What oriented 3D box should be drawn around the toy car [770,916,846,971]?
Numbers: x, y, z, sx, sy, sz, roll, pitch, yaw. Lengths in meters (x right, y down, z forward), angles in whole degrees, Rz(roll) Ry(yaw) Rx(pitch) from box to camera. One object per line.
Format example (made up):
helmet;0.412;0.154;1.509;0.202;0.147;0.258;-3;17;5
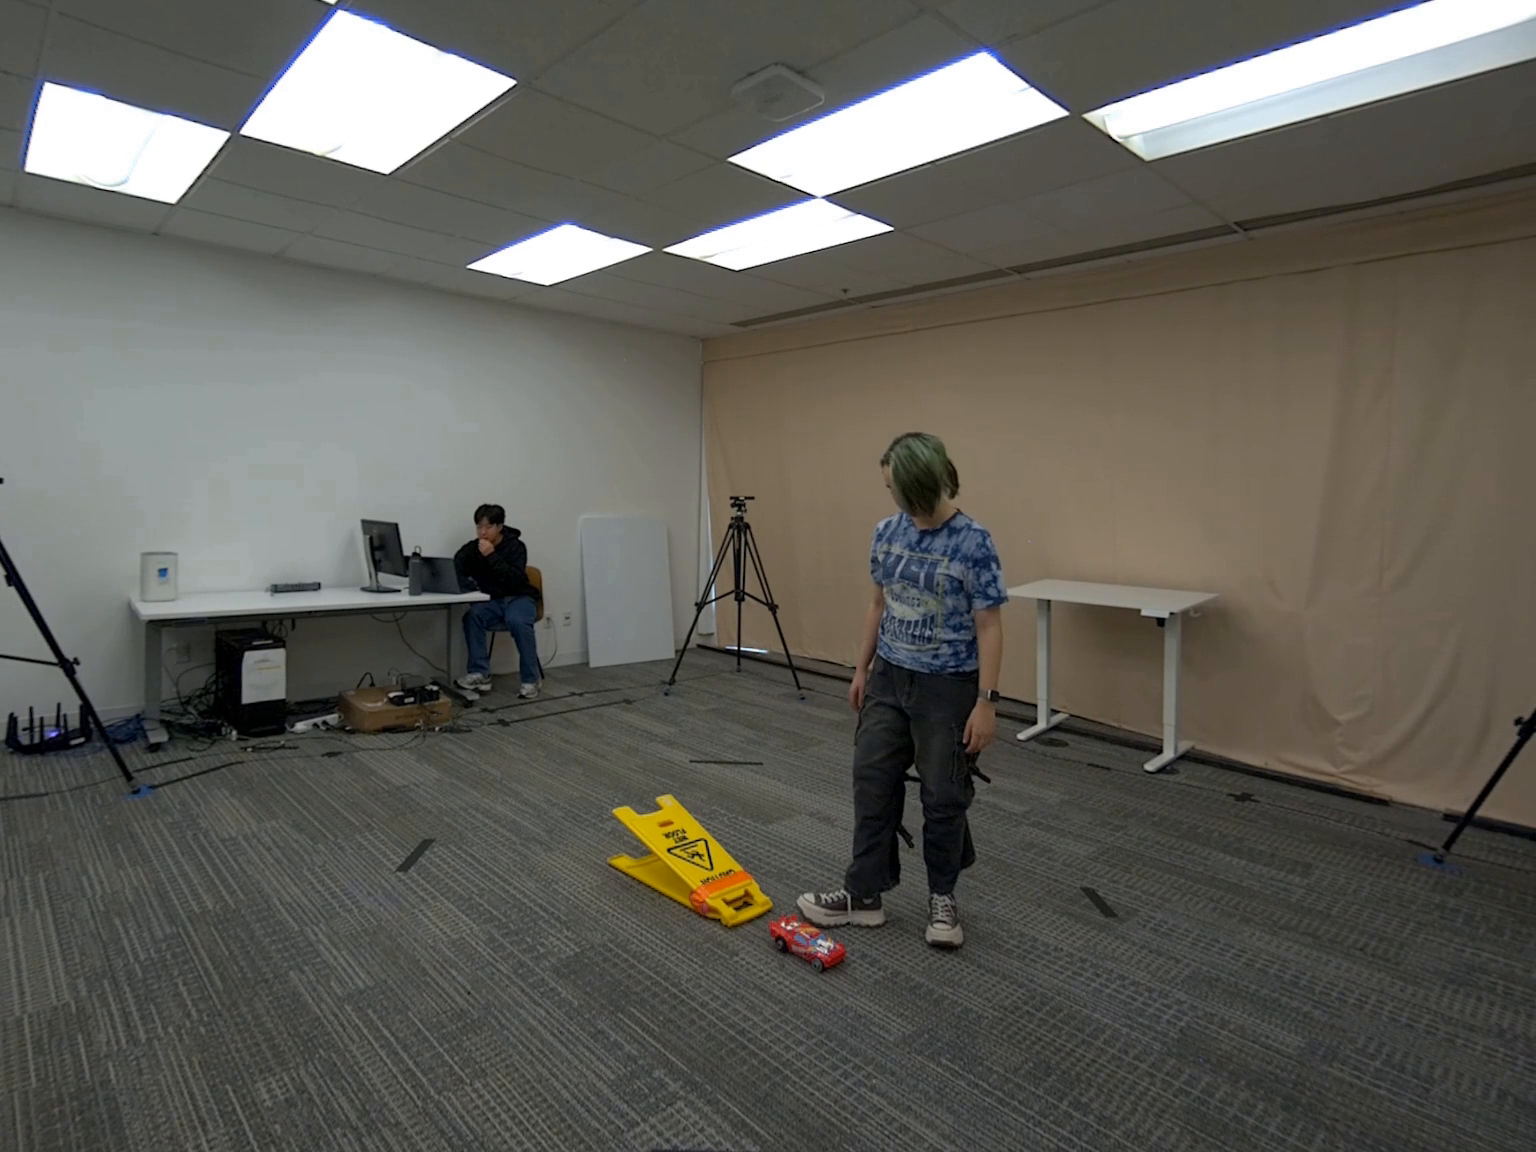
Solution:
toy car;0.112;1.128;2.583;0.127;0.082;0.262;-3;18;-45
